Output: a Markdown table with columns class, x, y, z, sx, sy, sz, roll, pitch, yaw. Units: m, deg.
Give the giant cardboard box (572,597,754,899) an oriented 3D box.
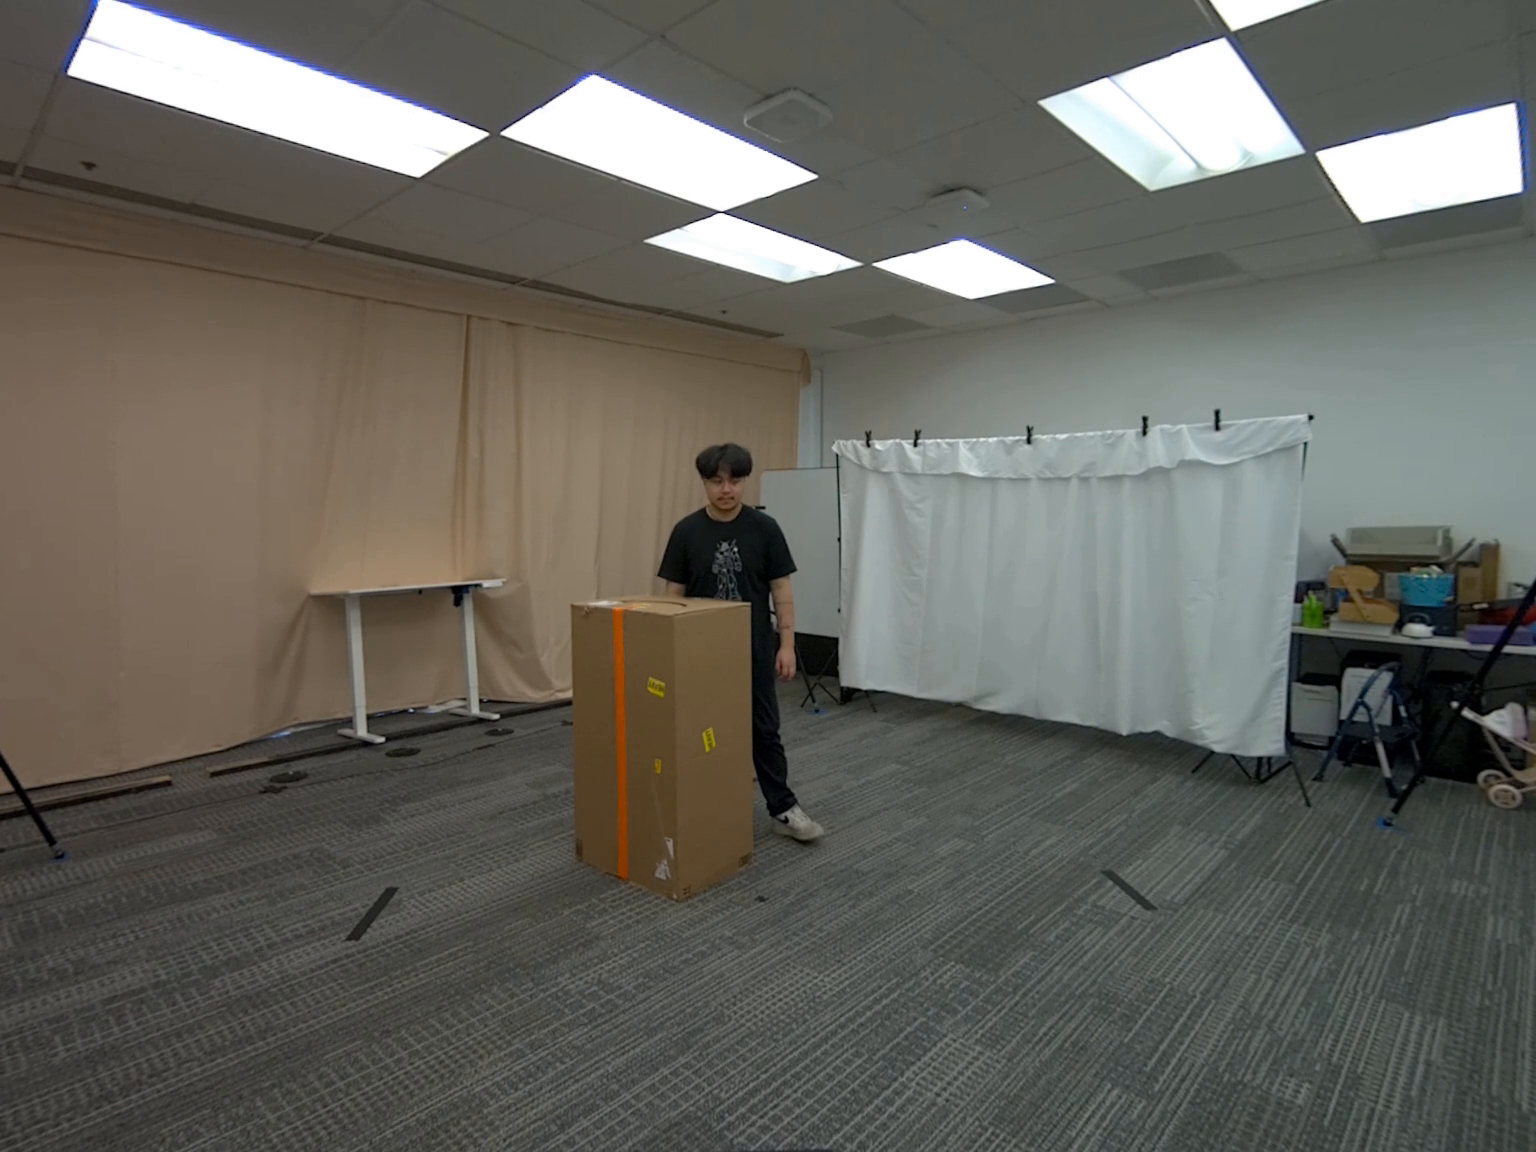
| class | x | y | z | sx | sy | sz | roll | pitch | yaw |
| --- | --- | --- | --- | --- | --- | --- | --- | --- | --- |
| giant cardboard box | -0.419 | 0.613 | 3.279 | 0.603 | 1.025 | 0.433 | 2 | 4 | 41 |
